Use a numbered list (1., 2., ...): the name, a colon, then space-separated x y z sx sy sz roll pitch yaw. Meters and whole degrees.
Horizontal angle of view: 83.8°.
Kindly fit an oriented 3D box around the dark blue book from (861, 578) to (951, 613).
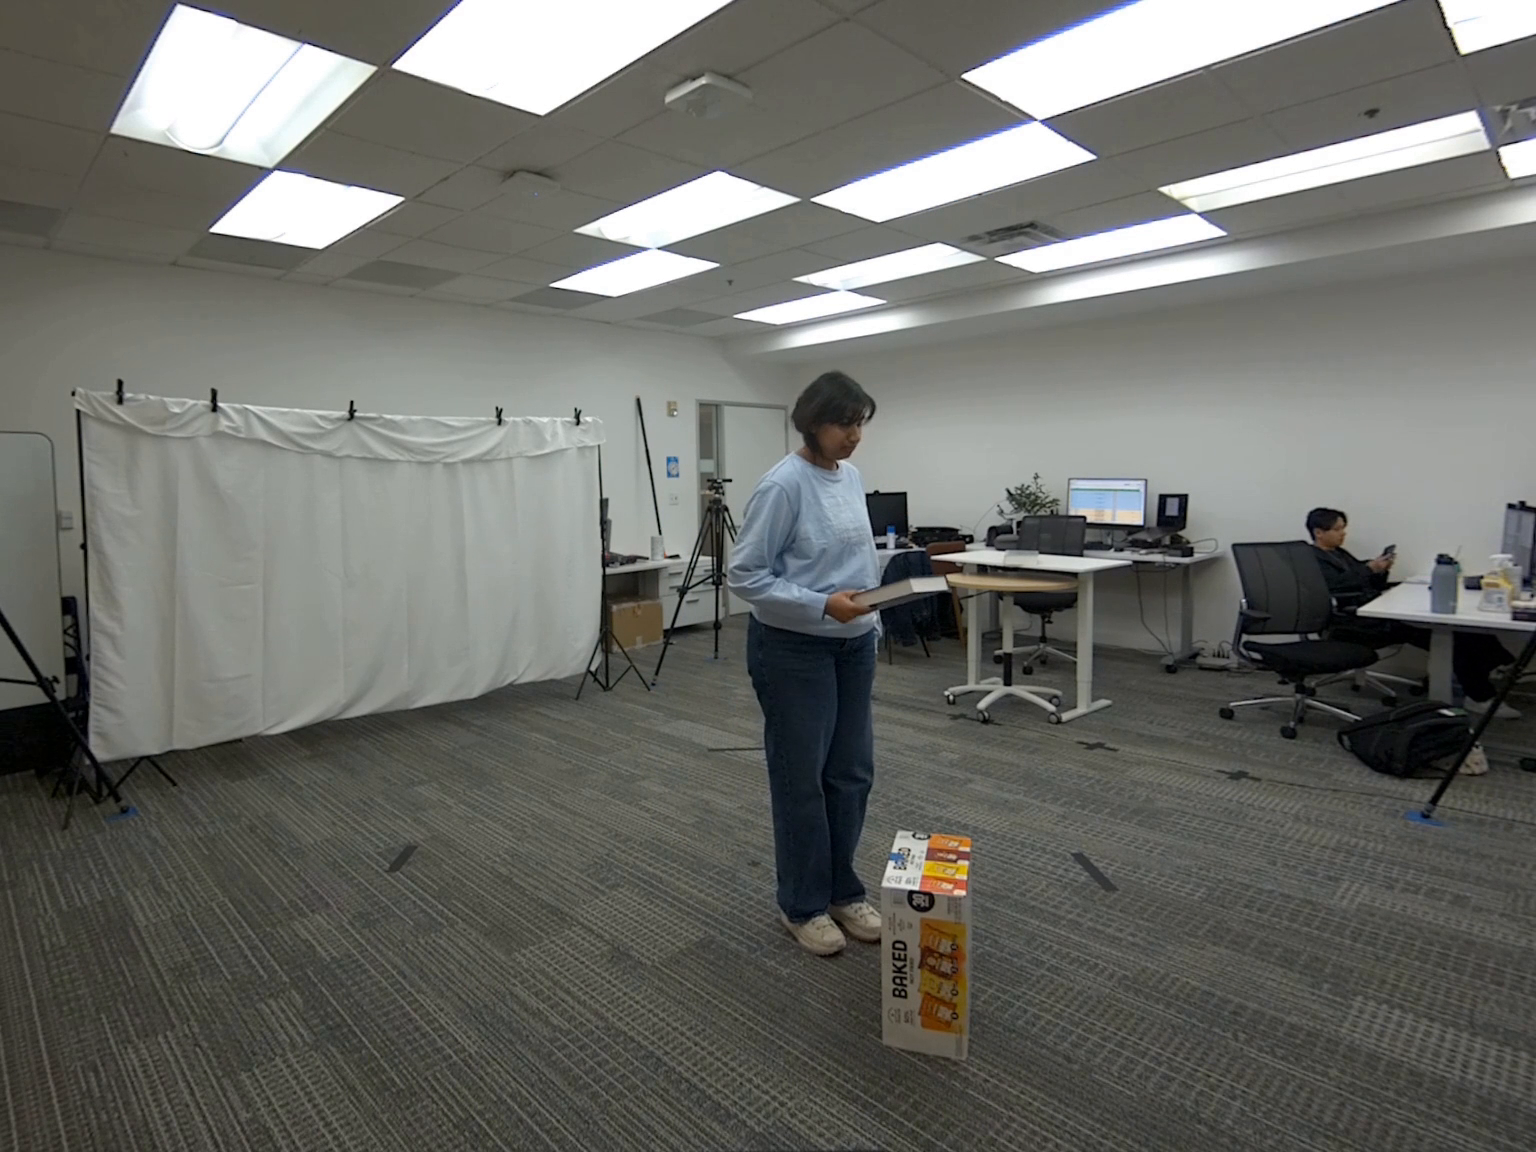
1. dark blue book: 0.344 0.059 2.347 0.159 0.045 0.249 -4 -10 -43
